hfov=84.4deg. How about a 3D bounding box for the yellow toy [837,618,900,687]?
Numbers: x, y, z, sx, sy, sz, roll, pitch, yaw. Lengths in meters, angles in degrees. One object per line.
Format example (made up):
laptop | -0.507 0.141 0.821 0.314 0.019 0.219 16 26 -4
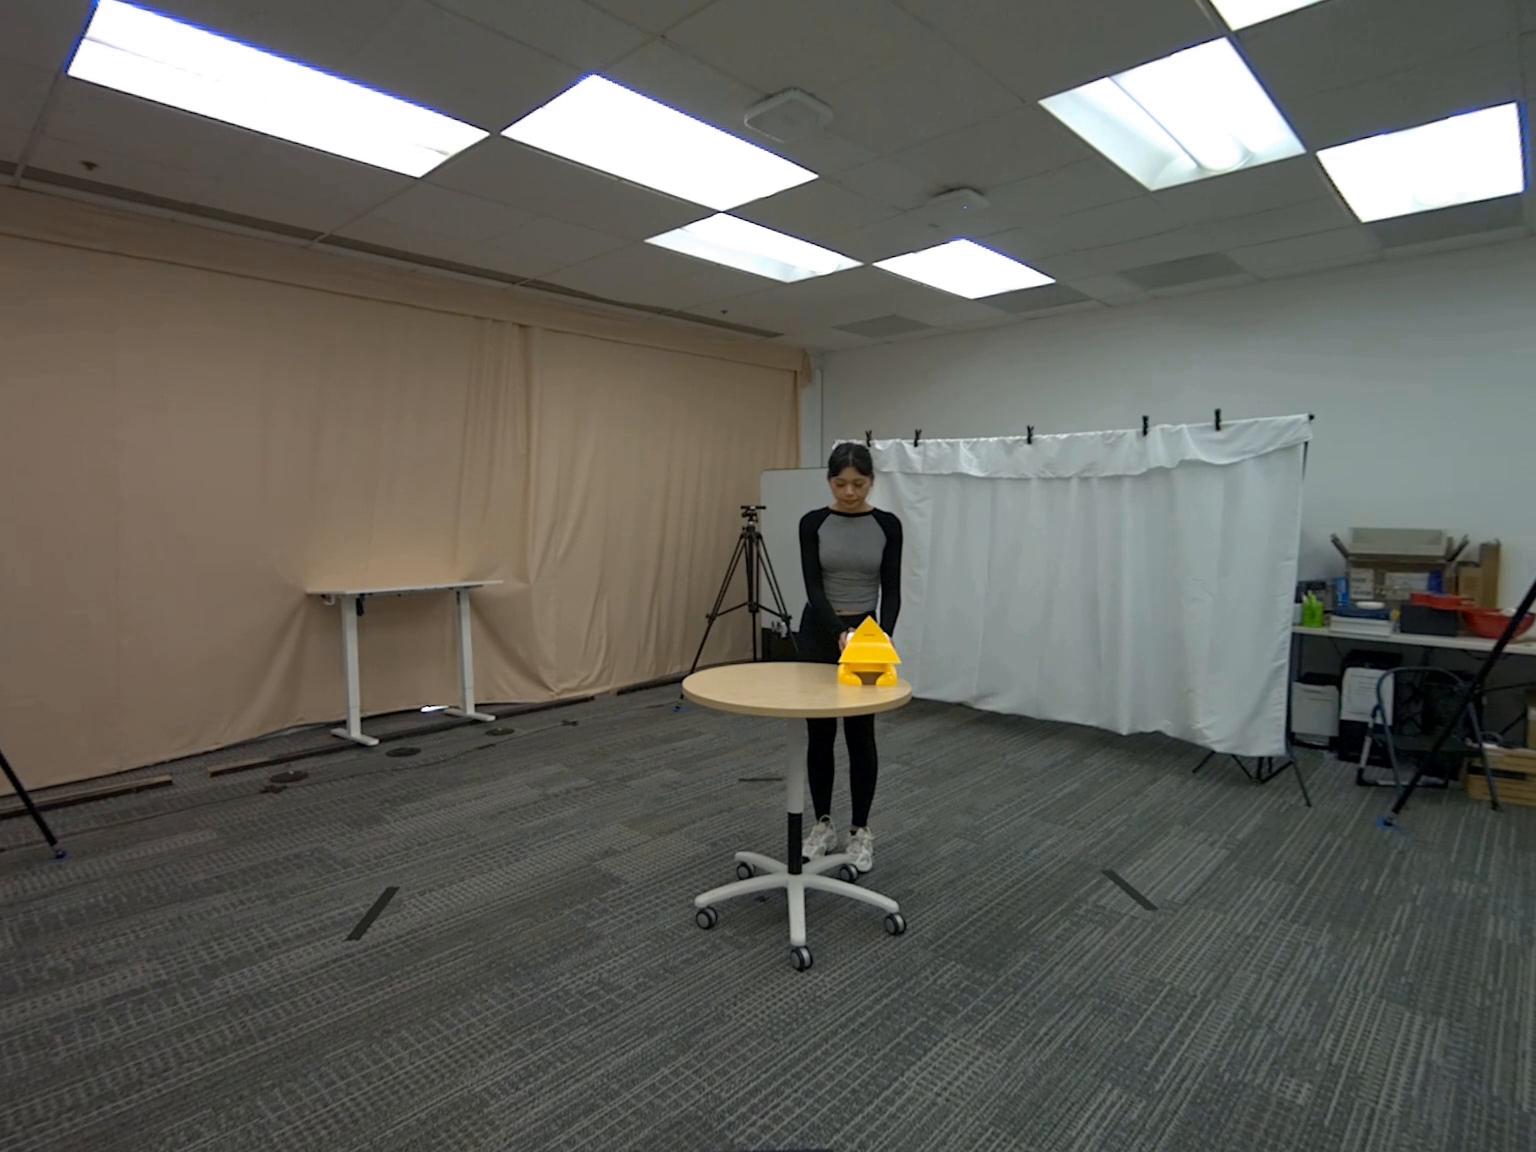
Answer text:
yellow toy | 0.335 0.244 2.873 0.206 0.230 0.193 1 4 3
